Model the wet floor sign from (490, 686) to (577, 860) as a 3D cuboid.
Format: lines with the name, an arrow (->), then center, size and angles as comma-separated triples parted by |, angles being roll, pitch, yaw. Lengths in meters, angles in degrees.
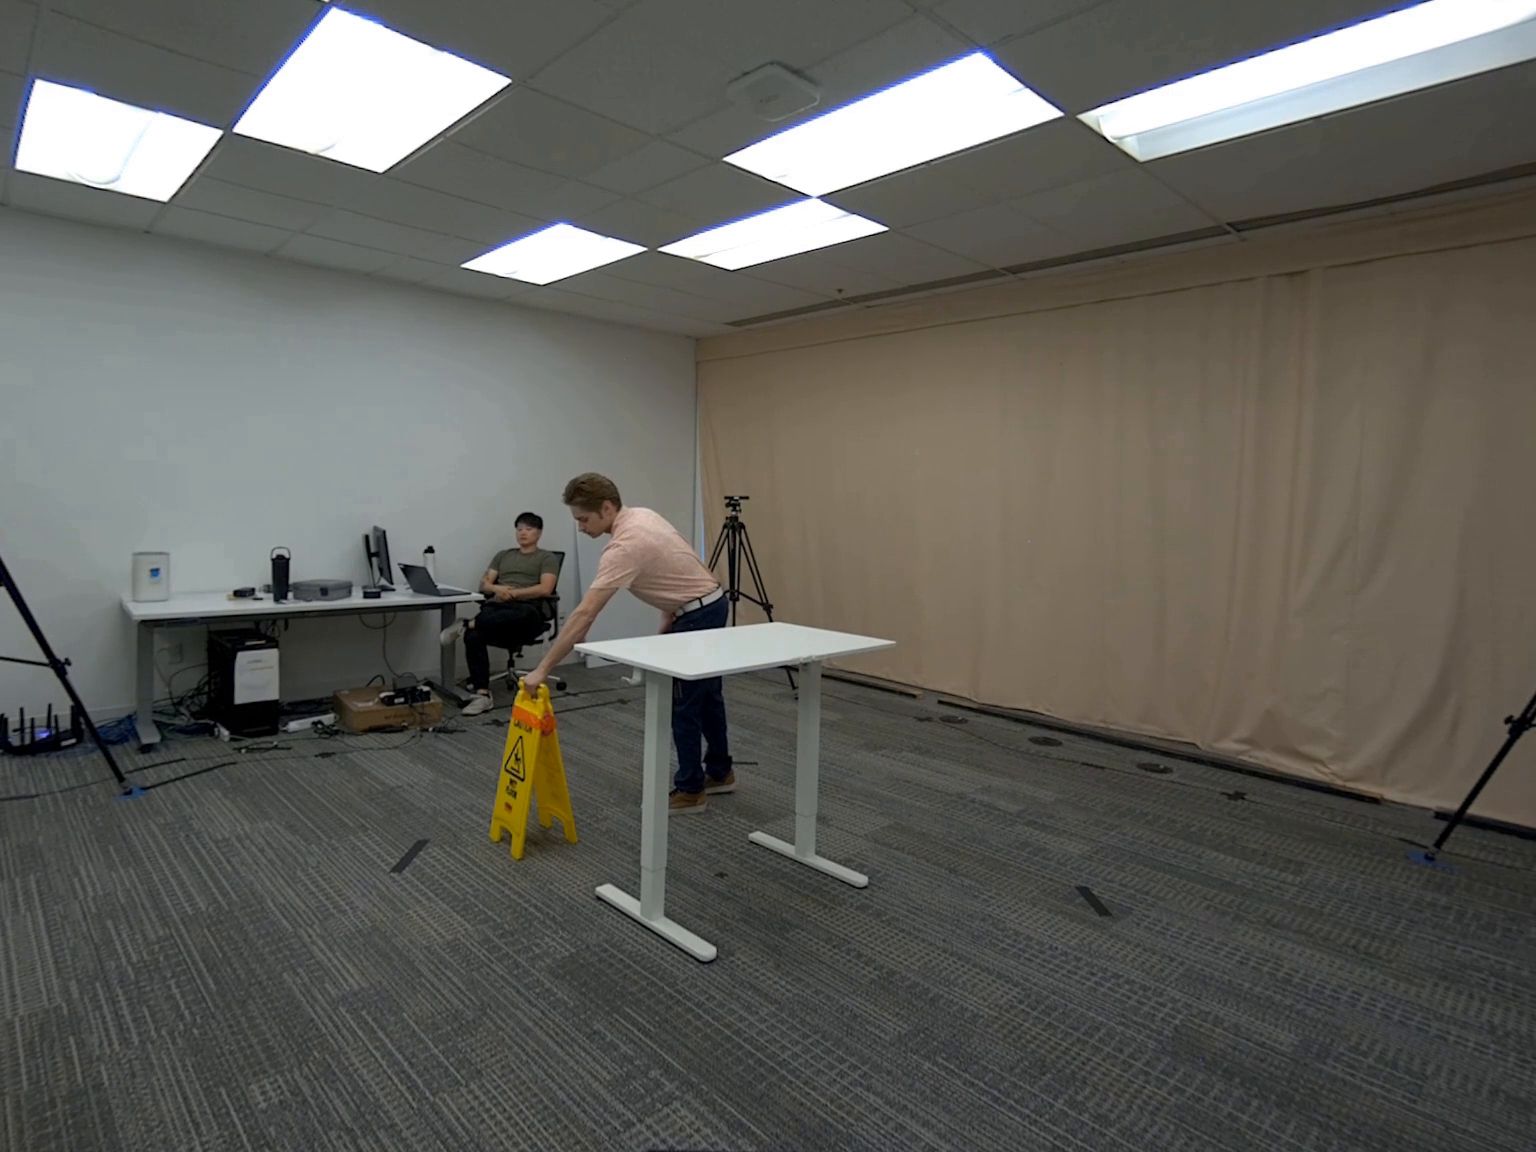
wet floor sign -> -0.939, 0.742, 3.361 | 0.283, 0.644, 0.290 | 0, 5, -43
